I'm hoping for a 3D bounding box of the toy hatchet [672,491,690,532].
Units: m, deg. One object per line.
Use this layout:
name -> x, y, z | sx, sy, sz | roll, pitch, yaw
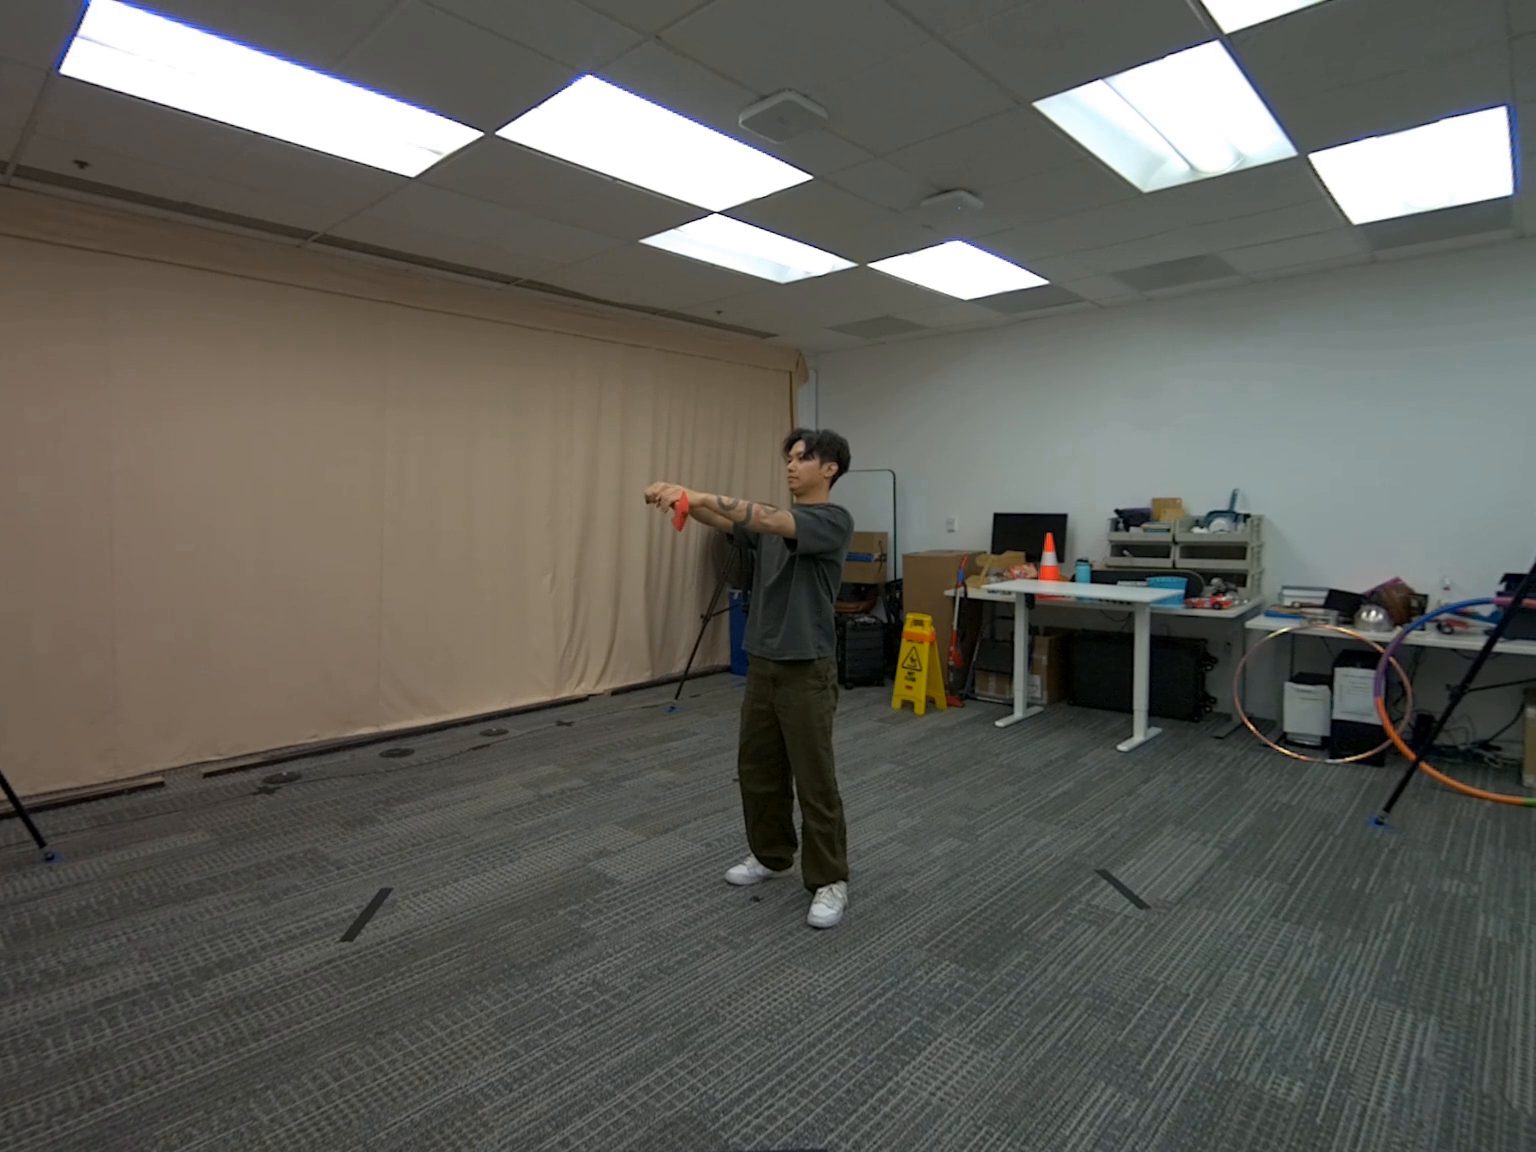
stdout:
toy hatchet -> -0.319, -0.209, 2.751 | 0.029, 0.131, 0.277 | -5, 5, -26
